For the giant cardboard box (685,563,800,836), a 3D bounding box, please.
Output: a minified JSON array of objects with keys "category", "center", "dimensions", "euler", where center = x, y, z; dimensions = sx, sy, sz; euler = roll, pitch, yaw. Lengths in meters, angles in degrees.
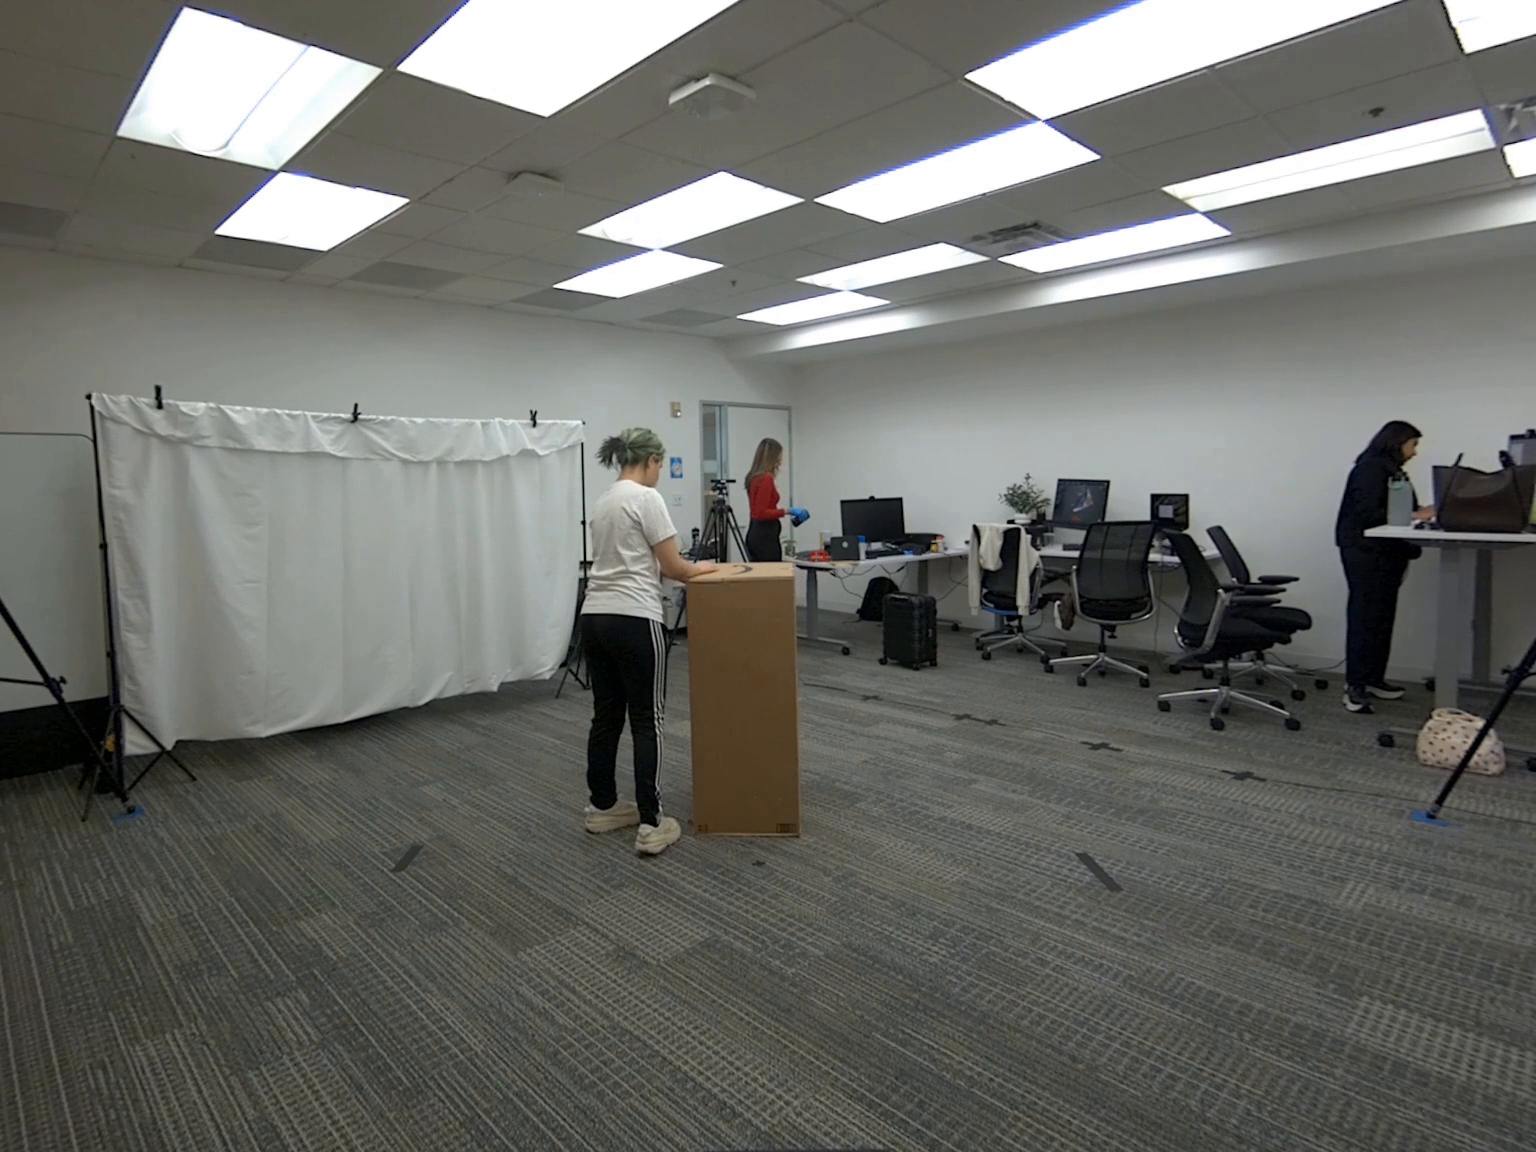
[{"category":"giant cardboard box","center":[-0.093,0.487,3.604],"dimensions":[0.428,1.022,0.577],"euler":[-1,4,4]}]
